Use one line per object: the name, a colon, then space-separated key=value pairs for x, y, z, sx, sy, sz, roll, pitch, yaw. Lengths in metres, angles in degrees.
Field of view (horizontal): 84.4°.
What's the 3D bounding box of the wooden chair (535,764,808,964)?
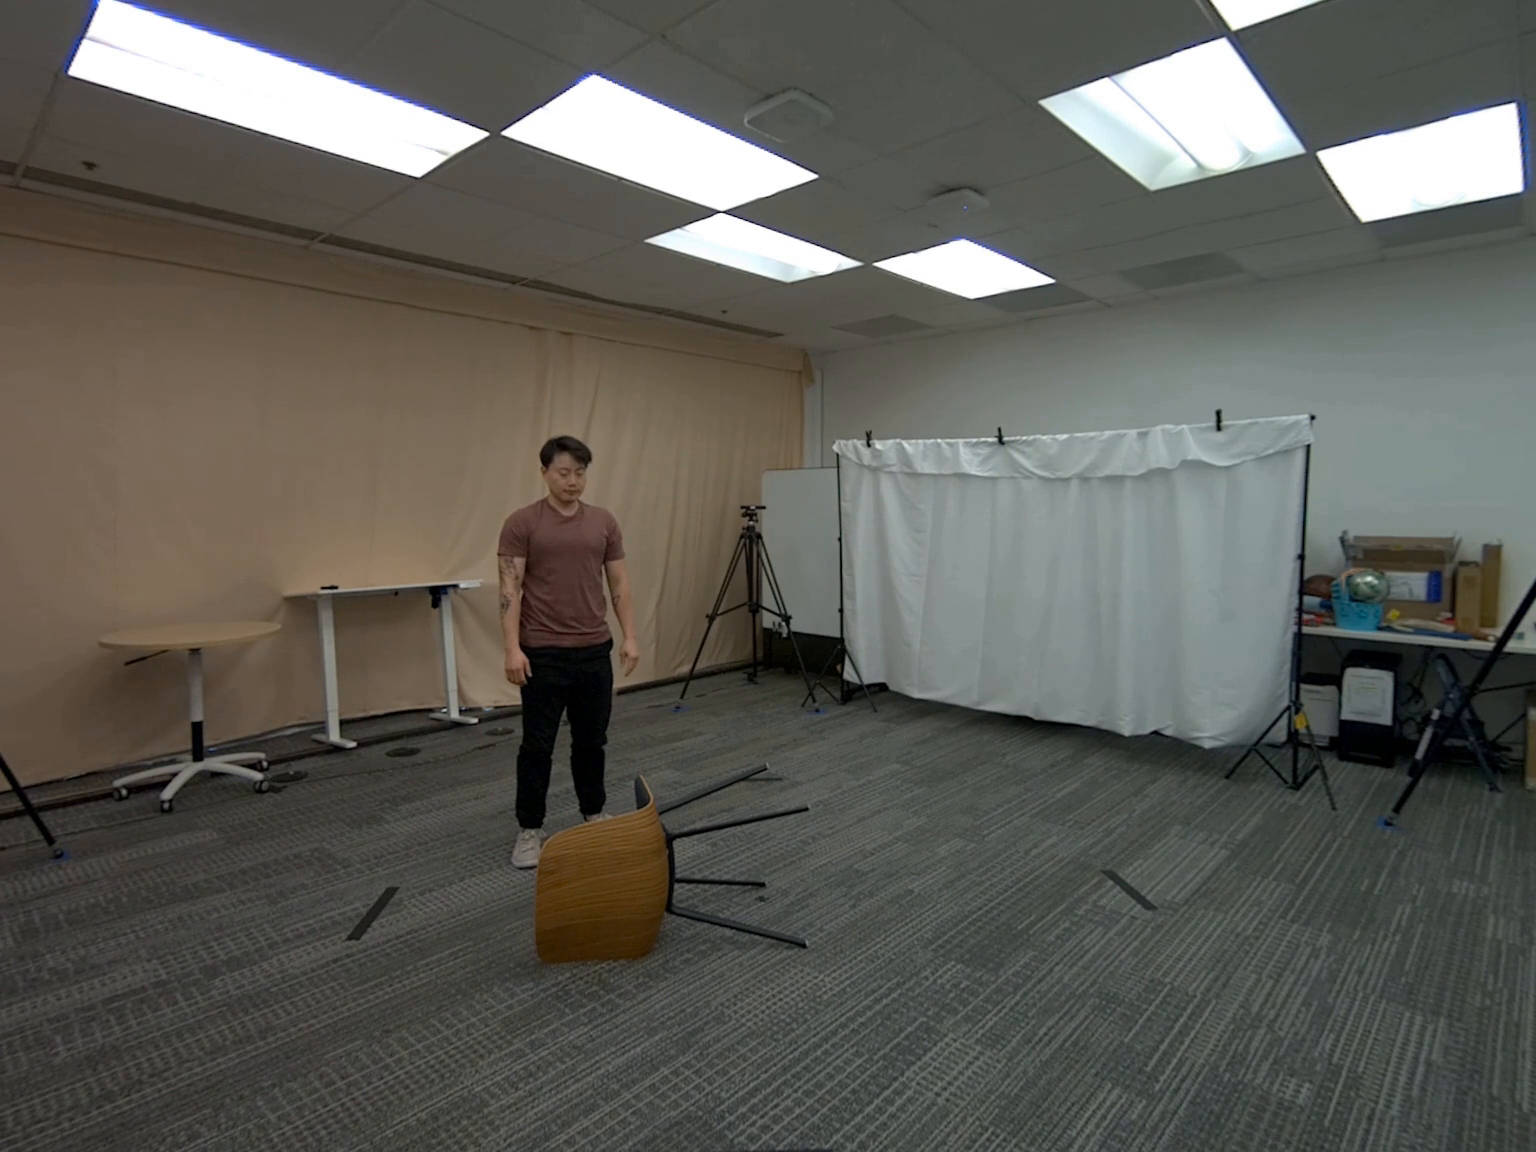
wooden chair: x=-0.347 y=0.935 z=2.765 sx=0.860 sy=0.477 sz=0.534 roll=-1 pitch=4 yaw=-19
